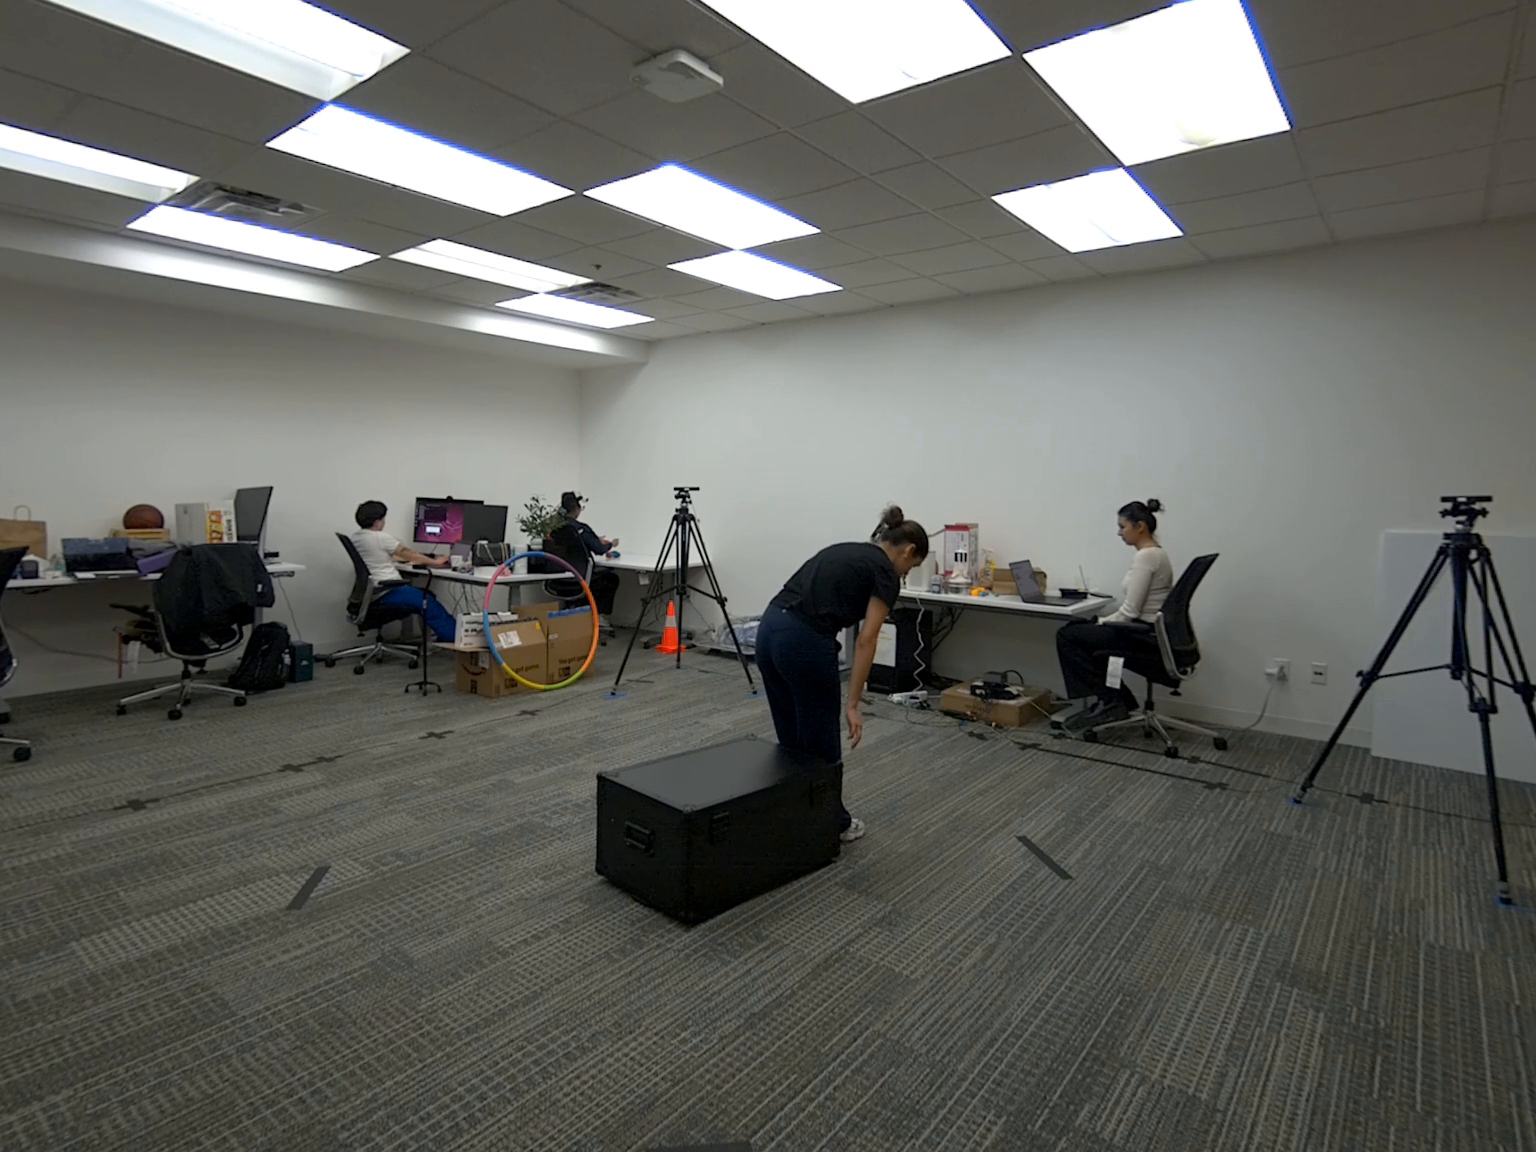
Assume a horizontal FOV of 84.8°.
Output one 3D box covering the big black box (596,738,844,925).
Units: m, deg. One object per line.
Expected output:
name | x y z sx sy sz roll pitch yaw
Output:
big black box | -0.177 0.881 3.080 0.835 0.395 0.539 -2 5 -45
